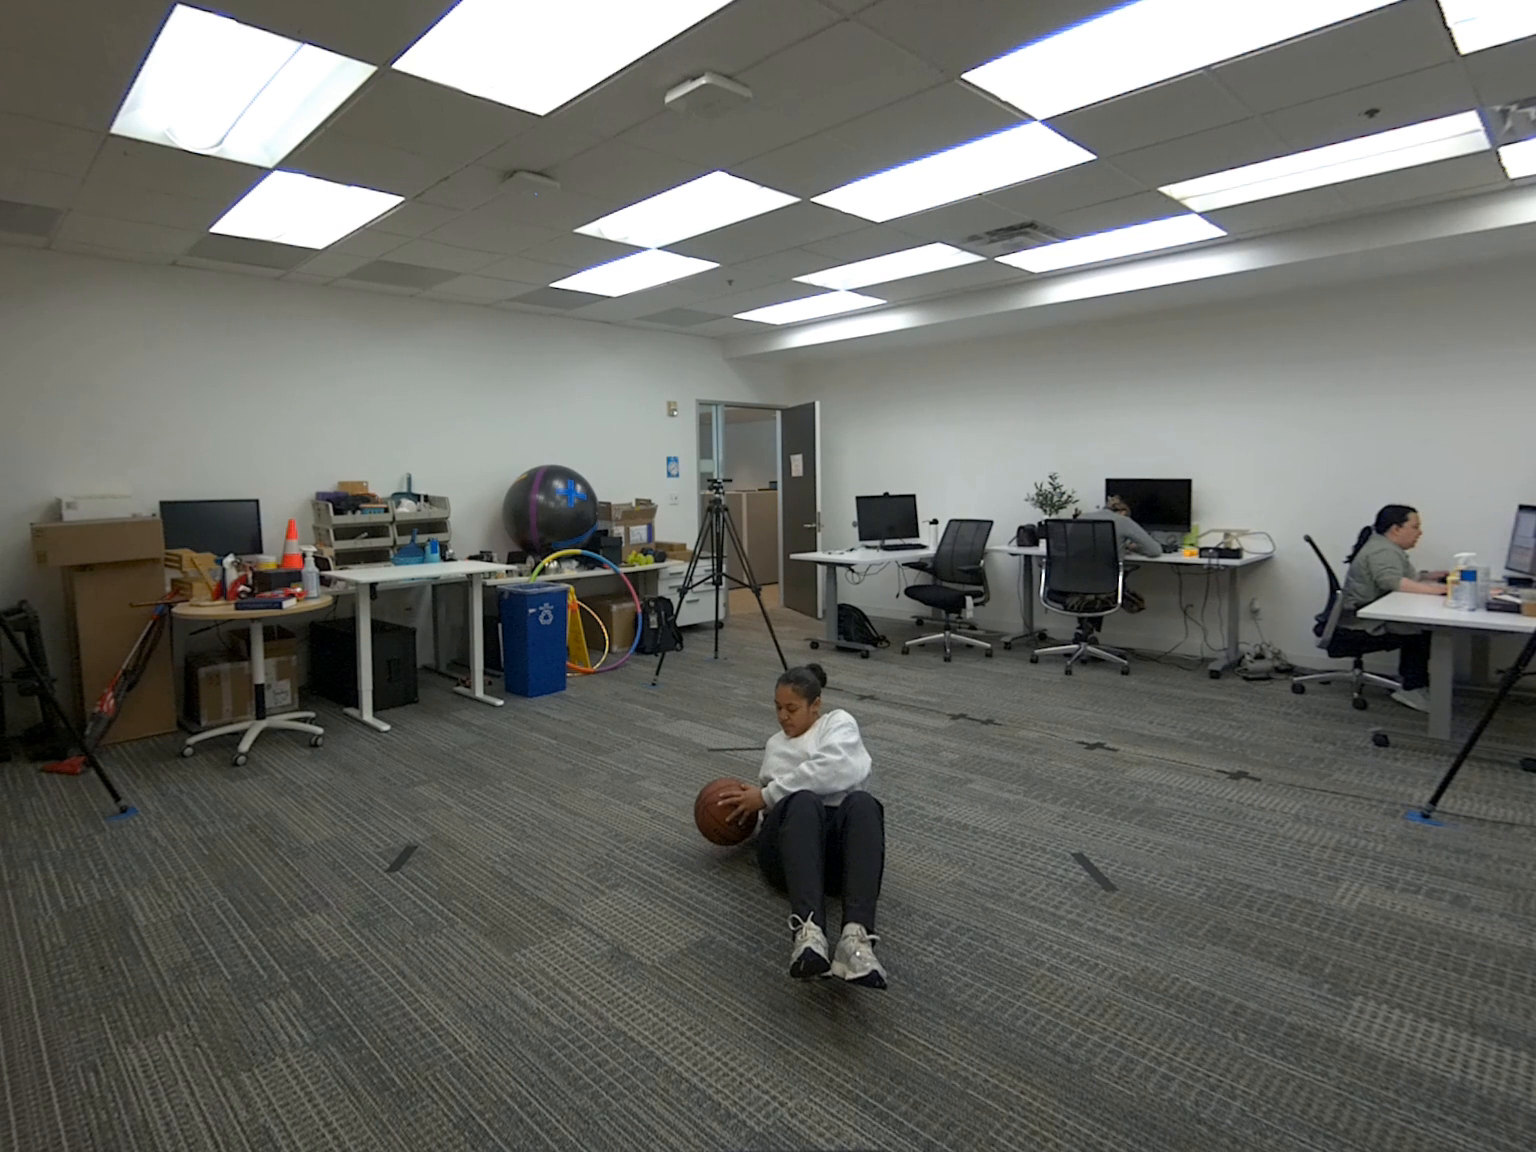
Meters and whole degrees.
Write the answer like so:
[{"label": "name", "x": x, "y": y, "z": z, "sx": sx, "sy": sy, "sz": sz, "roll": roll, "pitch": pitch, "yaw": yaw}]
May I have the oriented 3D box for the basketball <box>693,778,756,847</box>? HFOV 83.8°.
[{"label": "basketball", "x": -0.142, "y": 0.845, "z": 3.116, "sx": 0.236, "sy": 0.235, "sz": 0.237, "roll": -1, "pitch": 5, "yaw": -2}]
